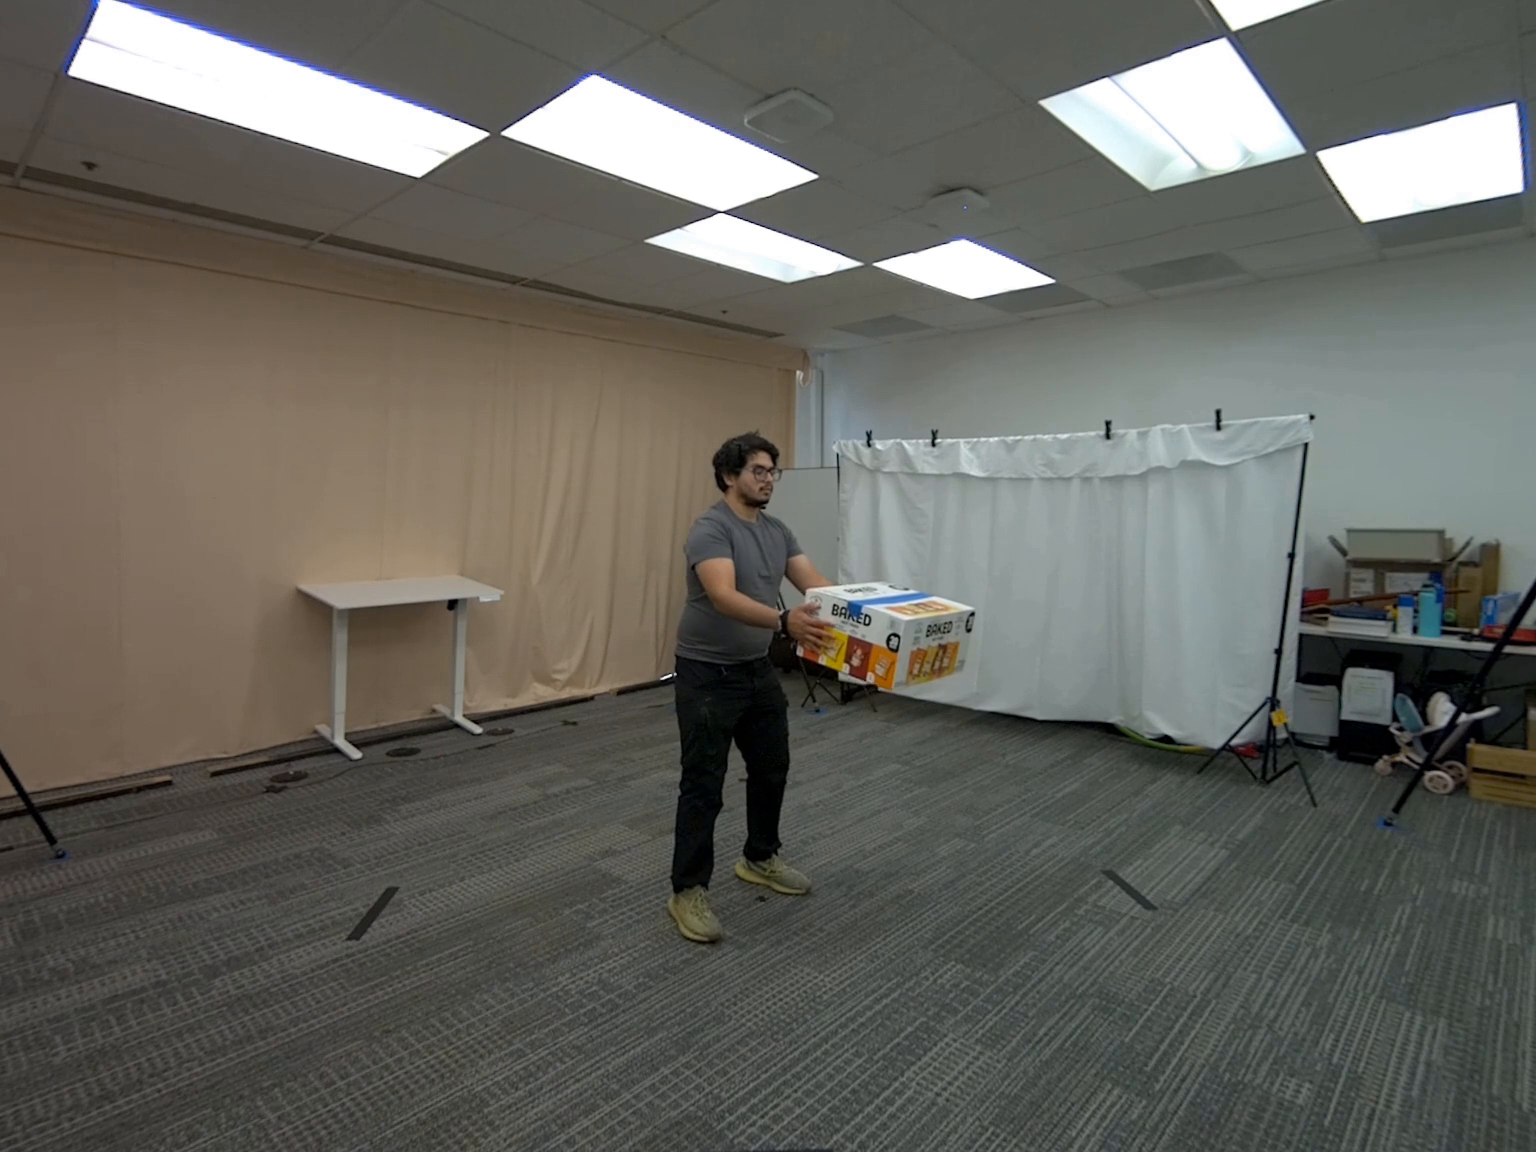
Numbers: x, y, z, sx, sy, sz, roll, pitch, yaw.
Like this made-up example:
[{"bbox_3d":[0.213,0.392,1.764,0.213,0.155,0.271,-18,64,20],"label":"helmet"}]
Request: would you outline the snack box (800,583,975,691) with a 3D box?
[{"bbox_3d":[0.355,0.176,2.508,0.353,0.205,0.393,18,14,39],"label":"snack box"}]
